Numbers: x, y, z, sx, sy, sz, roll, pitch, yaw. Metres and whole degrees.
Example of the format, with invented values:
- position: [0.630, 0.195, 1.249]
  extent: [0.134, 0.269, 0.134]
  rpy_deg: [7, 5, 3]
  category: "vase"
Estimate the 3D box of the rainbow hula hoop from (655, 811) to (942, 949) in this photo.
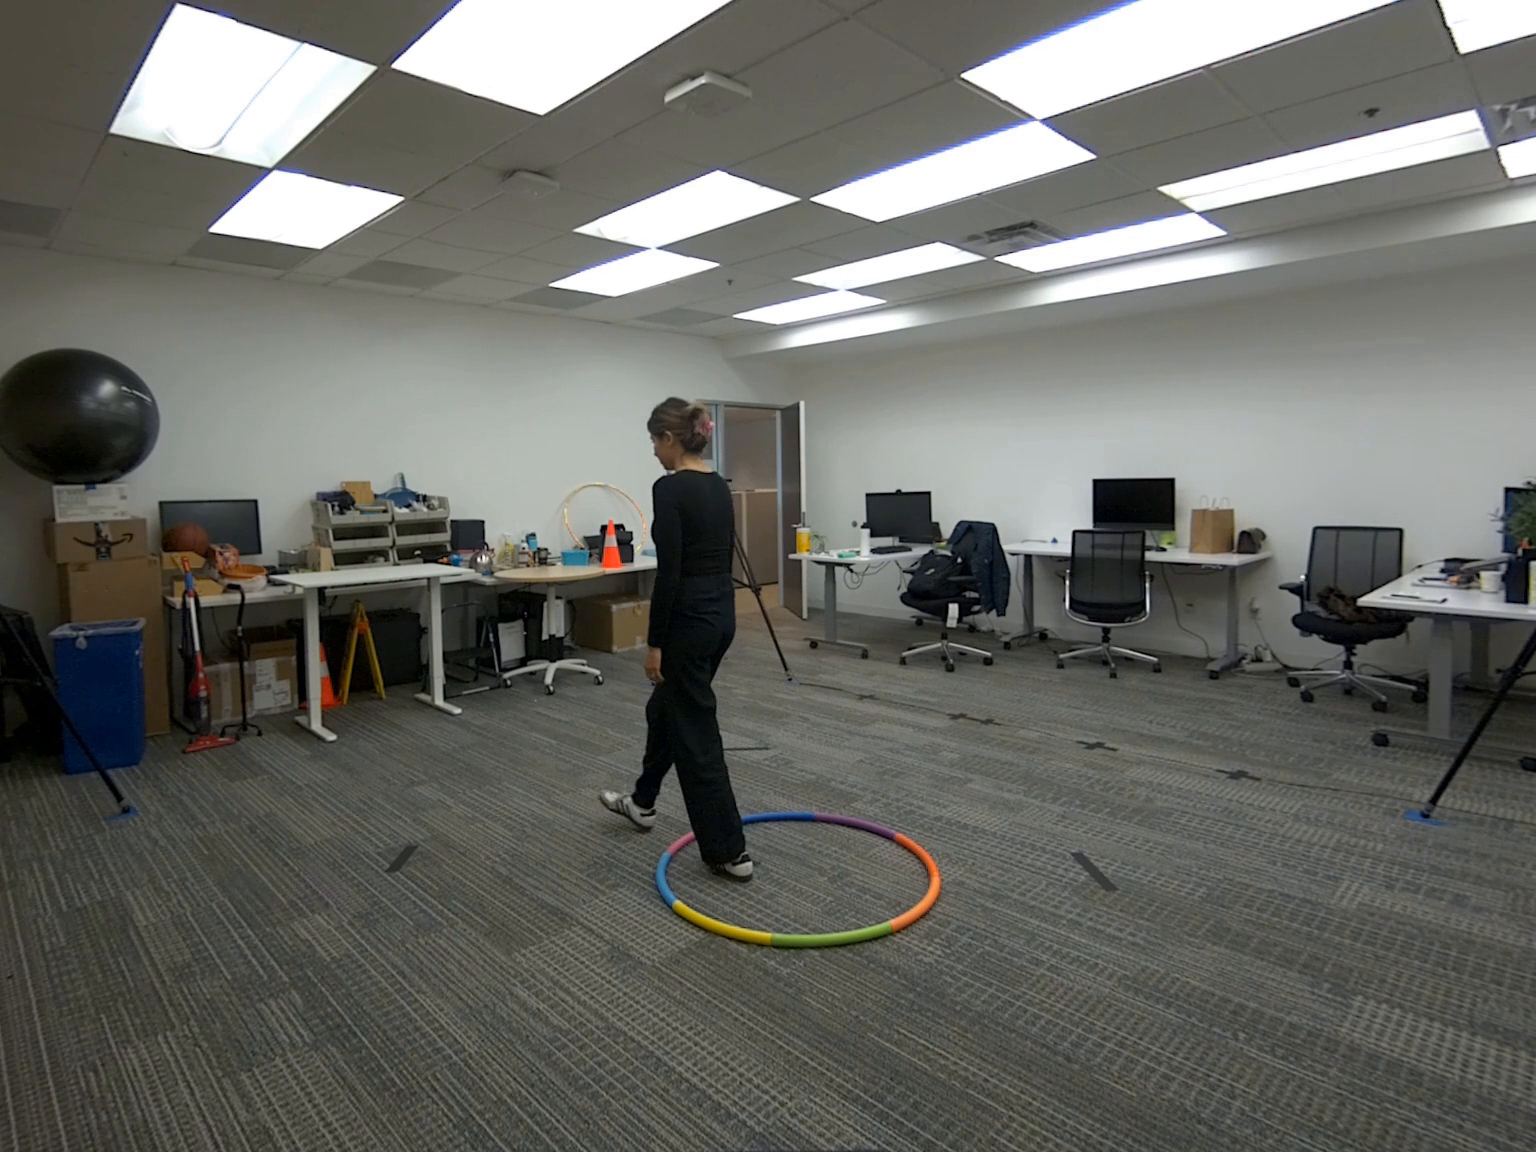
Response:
- position: [0.099, 1.023, 3.021]
  extent: [0.978, 0.035, 0.984]
  rpy_deg: [-1, 6, -2]
  category: "rainbow hula hoop"
